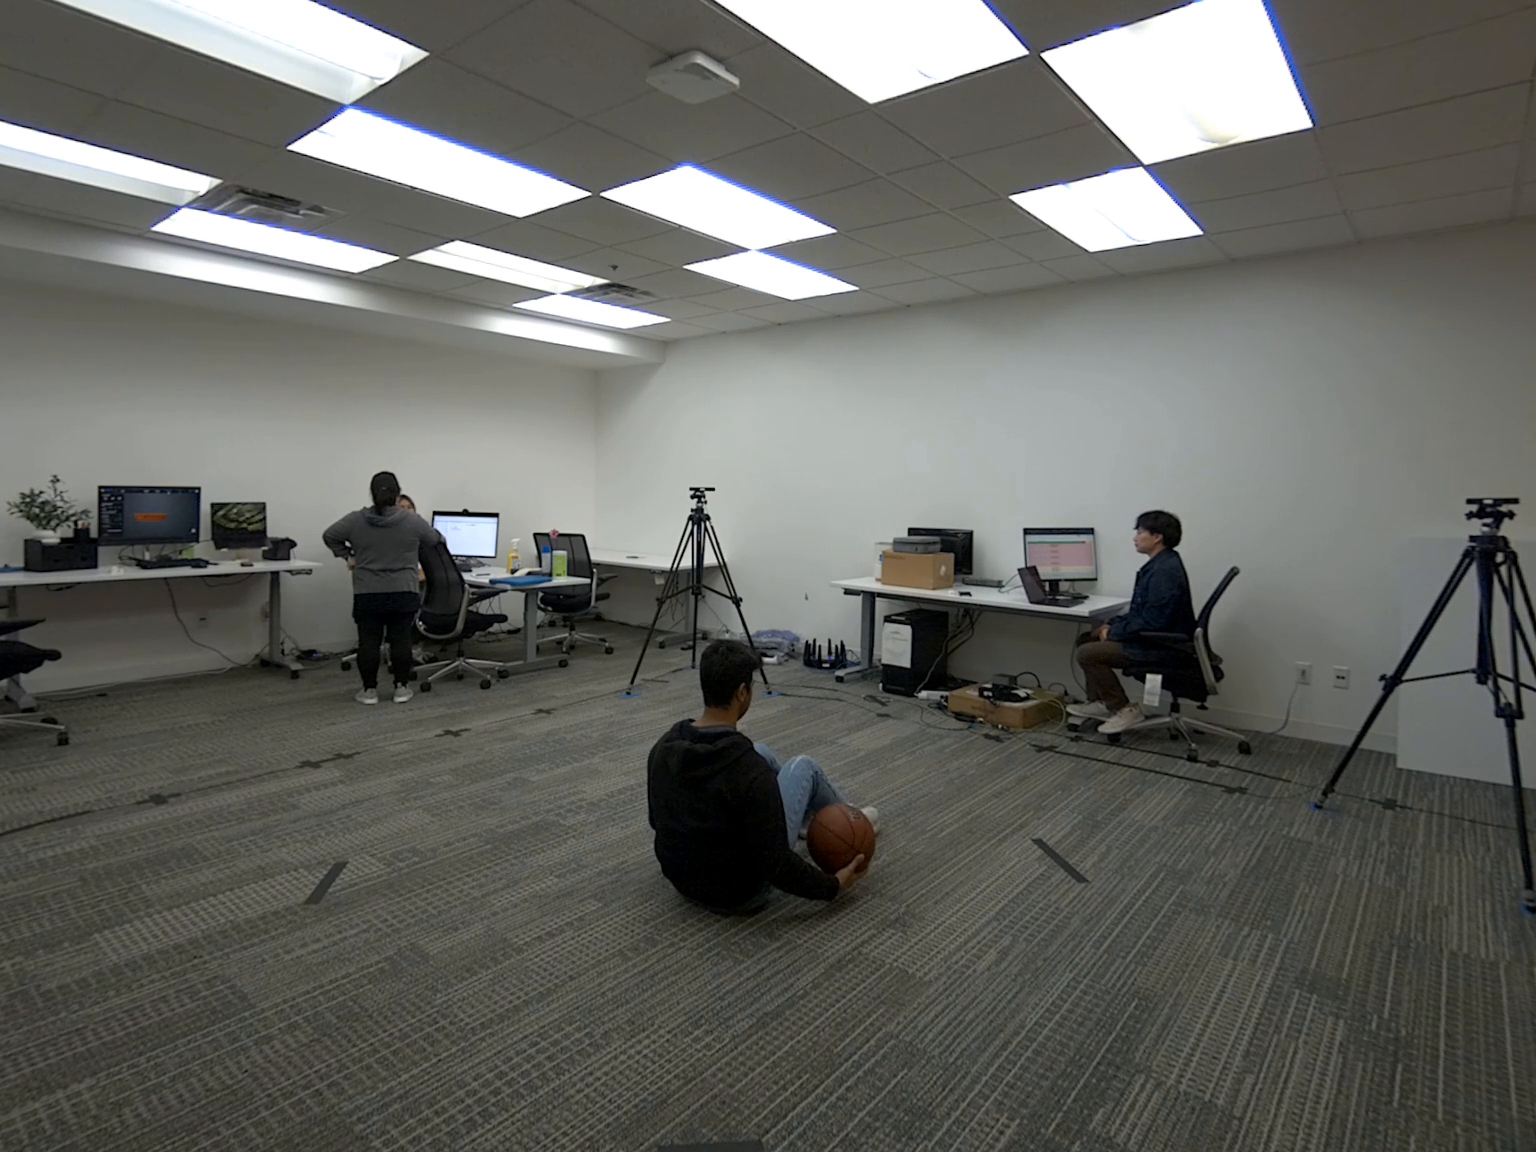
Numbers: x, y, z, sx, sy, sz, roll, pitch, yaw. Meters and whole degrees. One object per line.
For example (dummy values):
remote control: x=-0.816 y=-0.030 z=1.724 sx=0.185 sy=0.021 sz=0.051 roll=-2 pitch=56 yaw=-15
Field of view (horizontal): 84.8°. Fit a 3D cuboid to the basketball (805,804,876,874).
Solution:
basketball: x=0.245 y=0.904 z=2.951 sx=0.235 sy=0.235 sz=0.237 roll=1 pitch=4 yaw=-2
